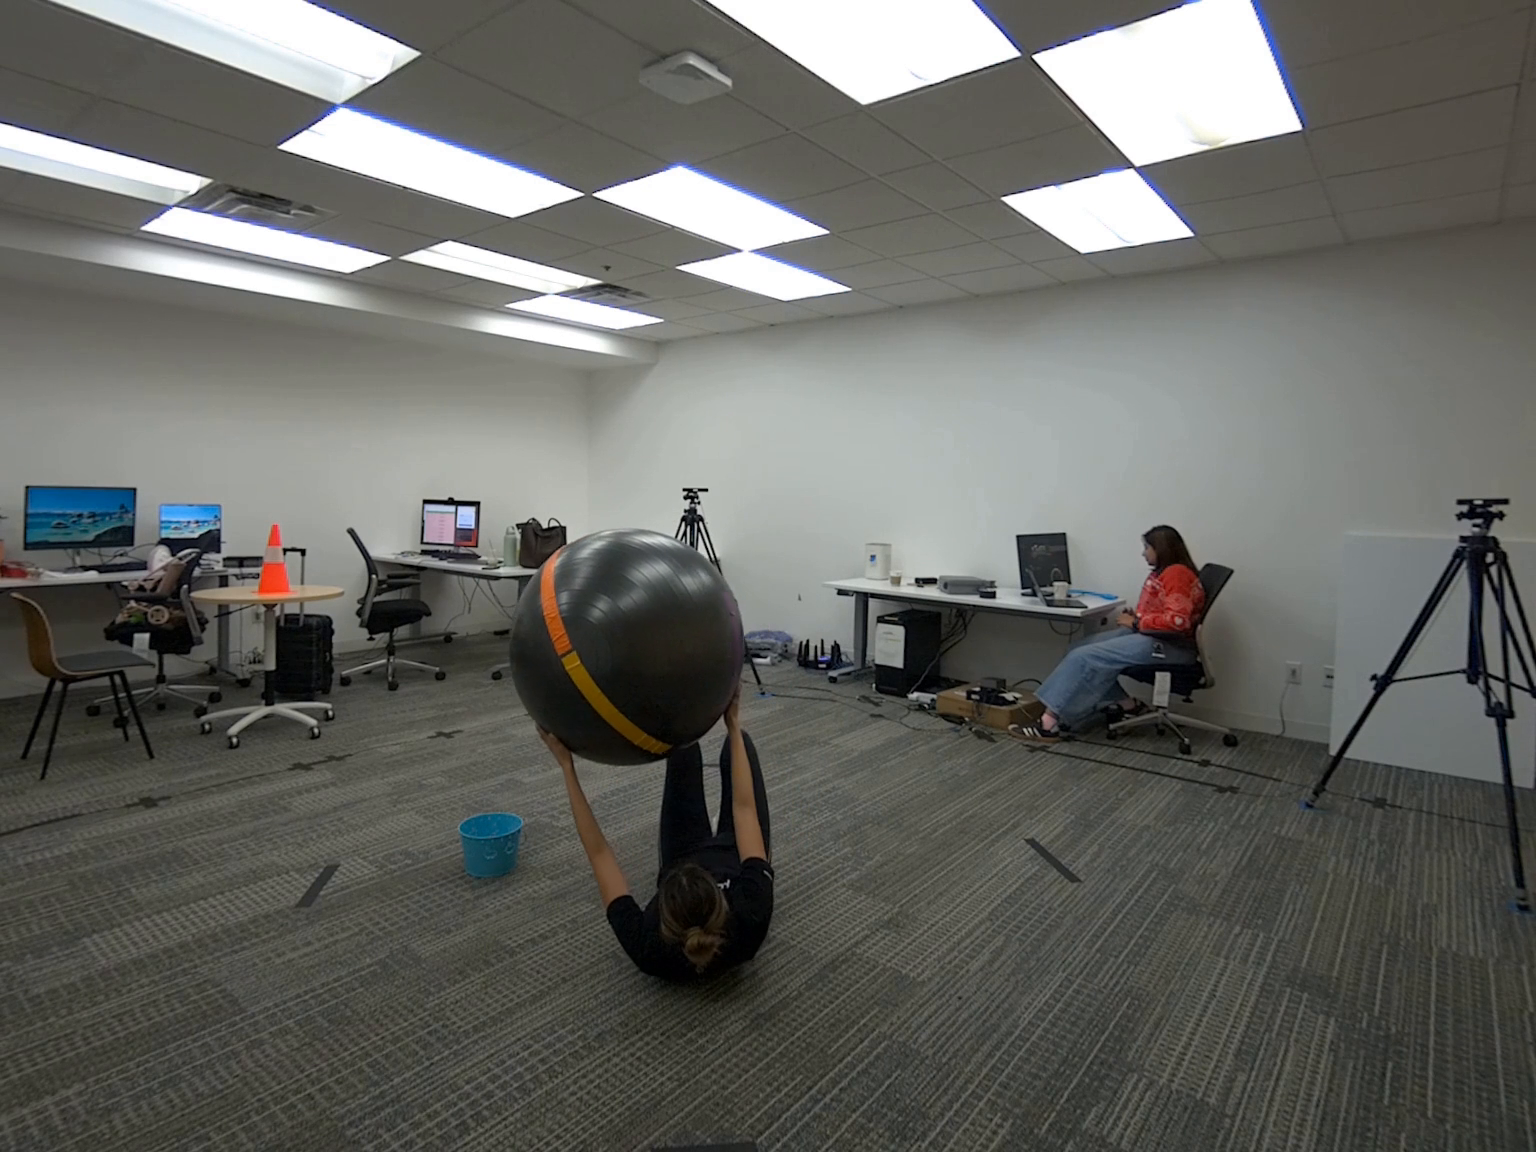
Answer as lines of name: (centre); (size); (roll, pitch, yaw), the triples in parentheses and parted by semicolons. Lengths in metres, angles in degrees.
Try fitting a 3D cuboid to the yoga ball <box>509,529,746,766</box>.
yoga ball: (-0.462, 0.232, 2.751); (0.757, 0.756, 0.762); (1, 4, -2)
